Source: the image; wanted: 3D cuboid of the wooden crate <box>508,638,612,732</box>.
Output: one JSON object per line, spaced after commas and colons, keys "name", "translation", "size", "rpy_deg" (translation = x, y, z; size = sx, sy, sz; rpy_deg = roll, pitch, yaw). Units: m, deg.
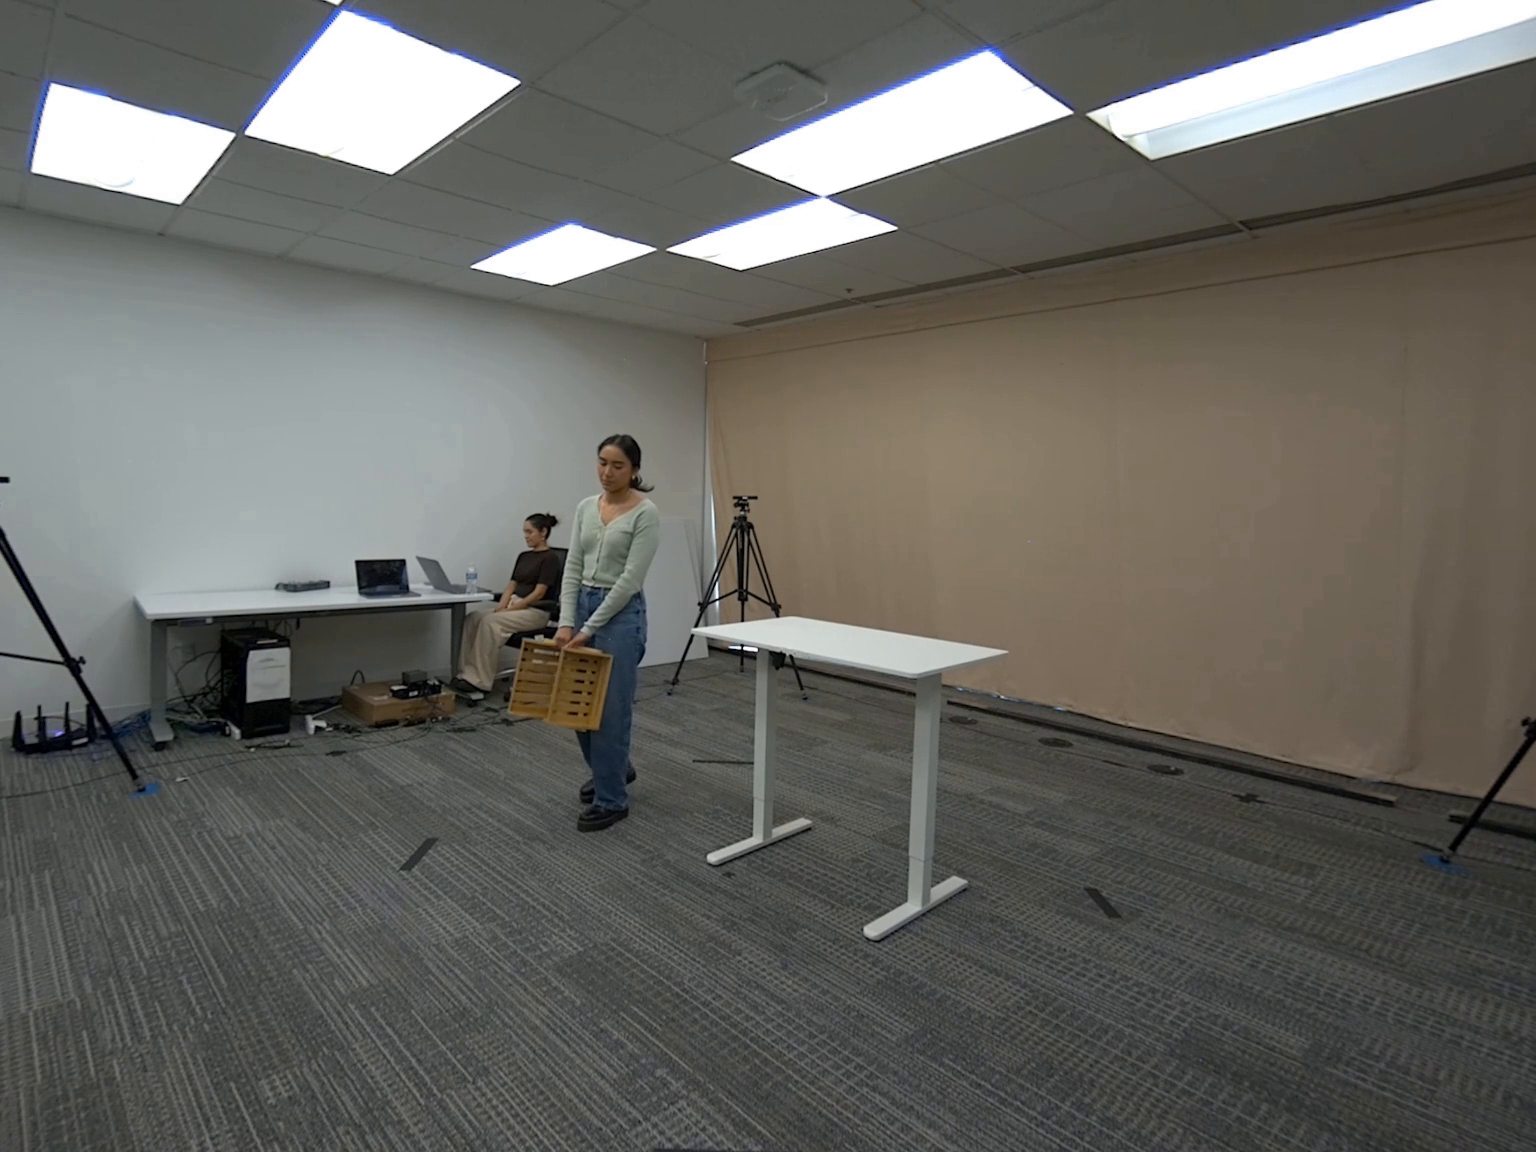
{"name": "wooden crate", "translation": [-0.846, 0.429, 3.382], "size": [0.293, 0.325, 0.280], "rpy_deg": [14, -5, -41]}
